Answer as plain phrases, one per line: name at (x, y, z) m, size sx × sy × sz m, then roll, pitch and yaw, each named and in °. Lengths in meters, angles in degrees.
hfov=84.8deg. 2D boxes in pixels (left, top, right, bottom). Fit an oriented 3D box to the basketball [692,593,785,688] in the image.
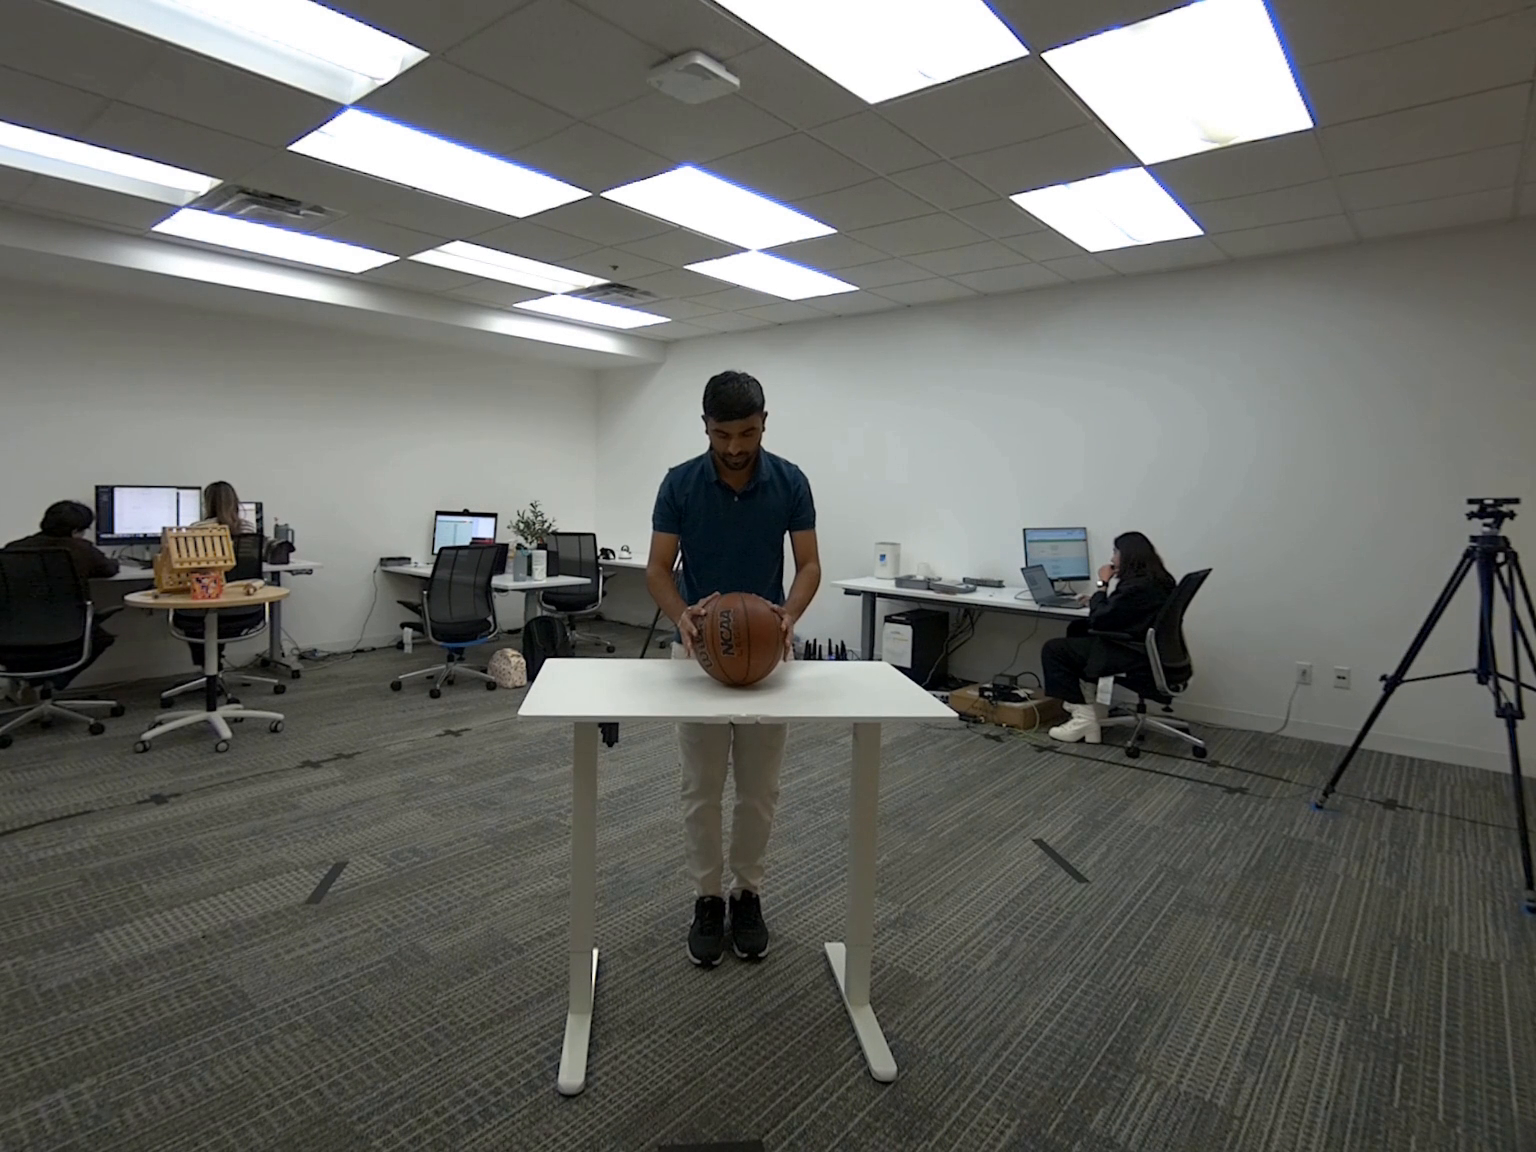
basketball at (-0.078, 0.160, 2.199) m, size 0.235 × 0.235 × 0.237 m, roll 1°, pitch 4°, yaw -2°
